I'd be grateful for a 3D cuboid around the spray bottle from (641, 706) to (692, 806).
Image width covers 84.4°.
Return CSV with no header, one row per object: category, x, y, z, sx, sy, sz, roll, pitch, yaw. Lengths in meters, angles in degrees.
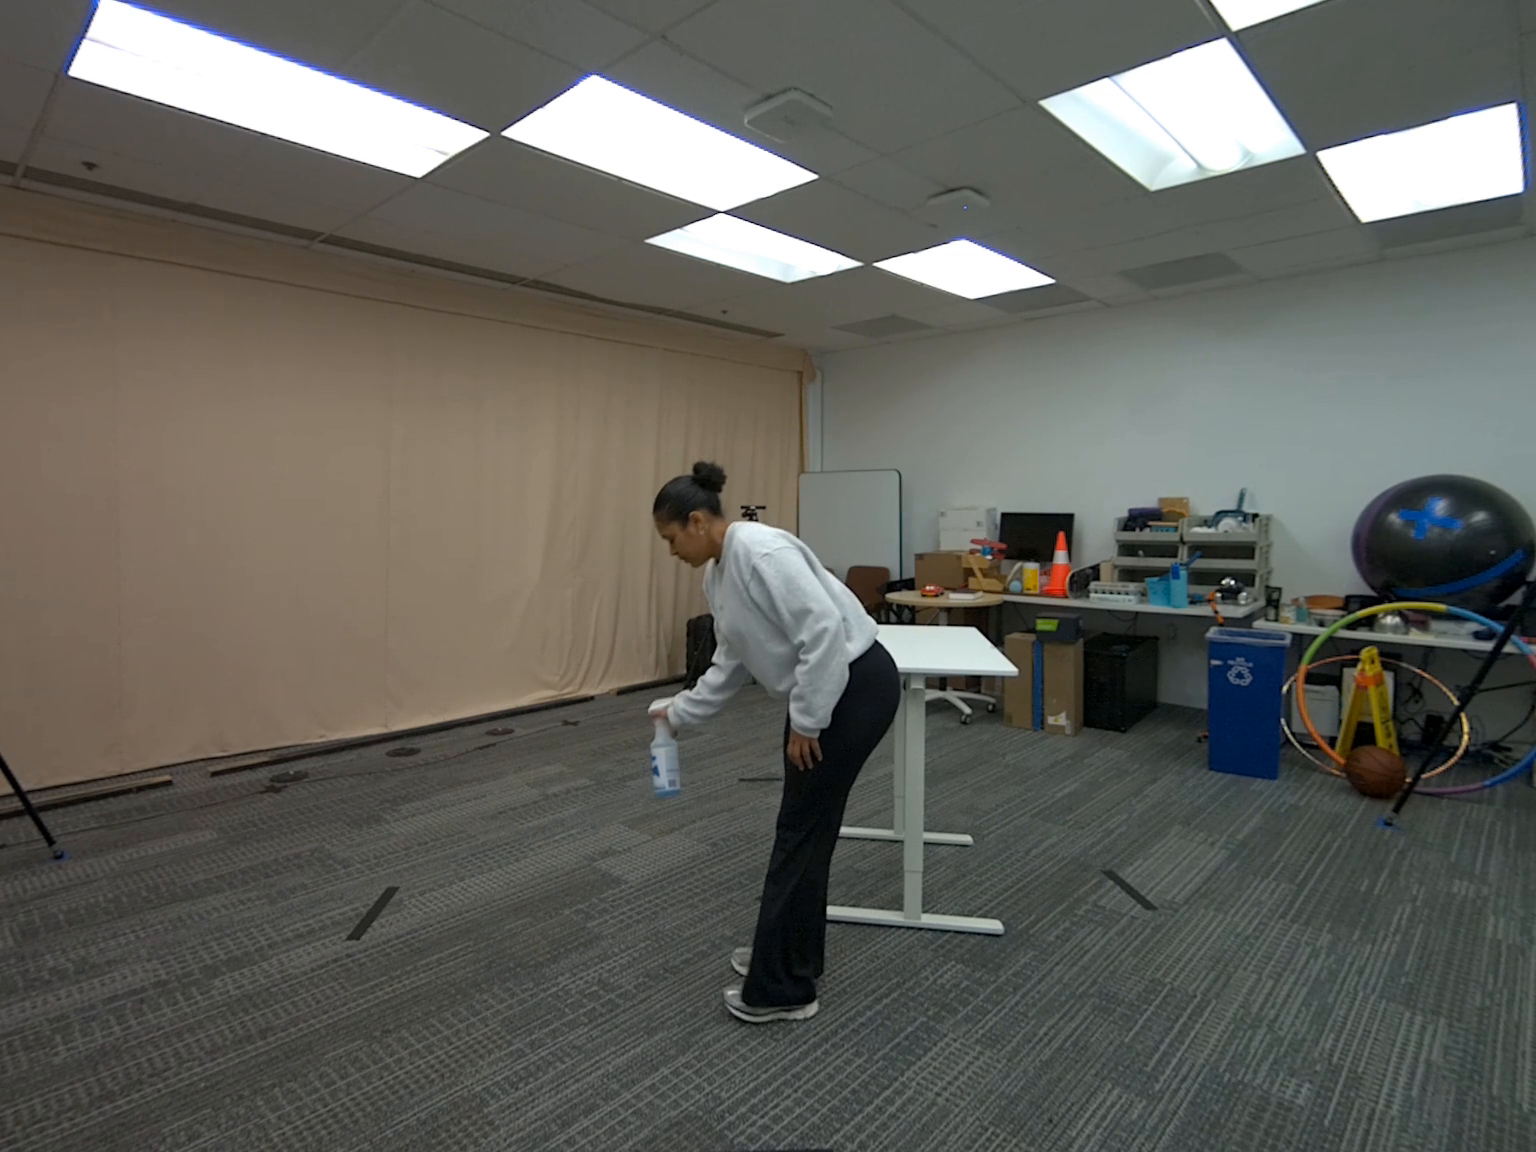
spray bottle,-0.320,0.553,2.648,0.092,0.300,0.084,-15,-15,30
